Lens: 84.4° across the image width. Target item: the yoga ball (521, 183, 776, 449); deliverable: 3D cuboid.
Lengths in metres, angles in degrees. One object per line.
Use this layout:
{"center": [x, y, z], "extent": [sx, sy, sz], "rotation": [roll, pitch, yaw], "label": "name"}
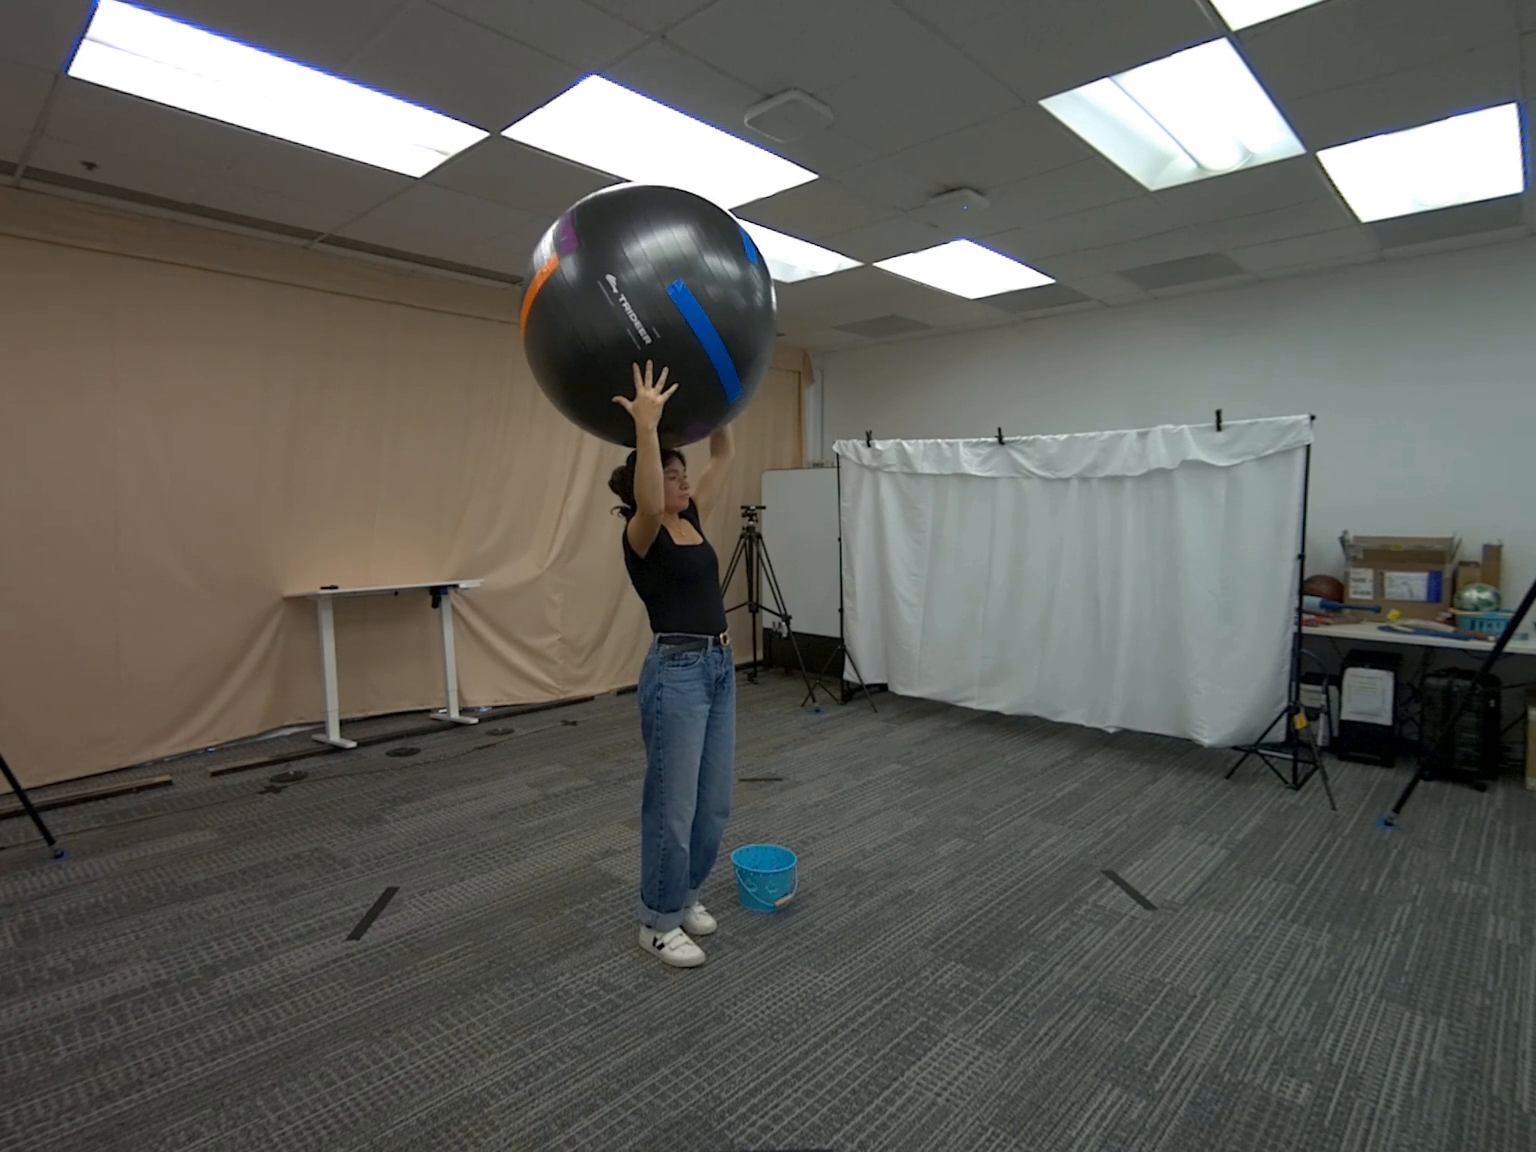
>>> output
{"center": [-0.348, -0.752, 2.494], "extent": [0.757, 0.756, 0.760], "rotation": [0, 4, -2], "label": "yoga ball"}
